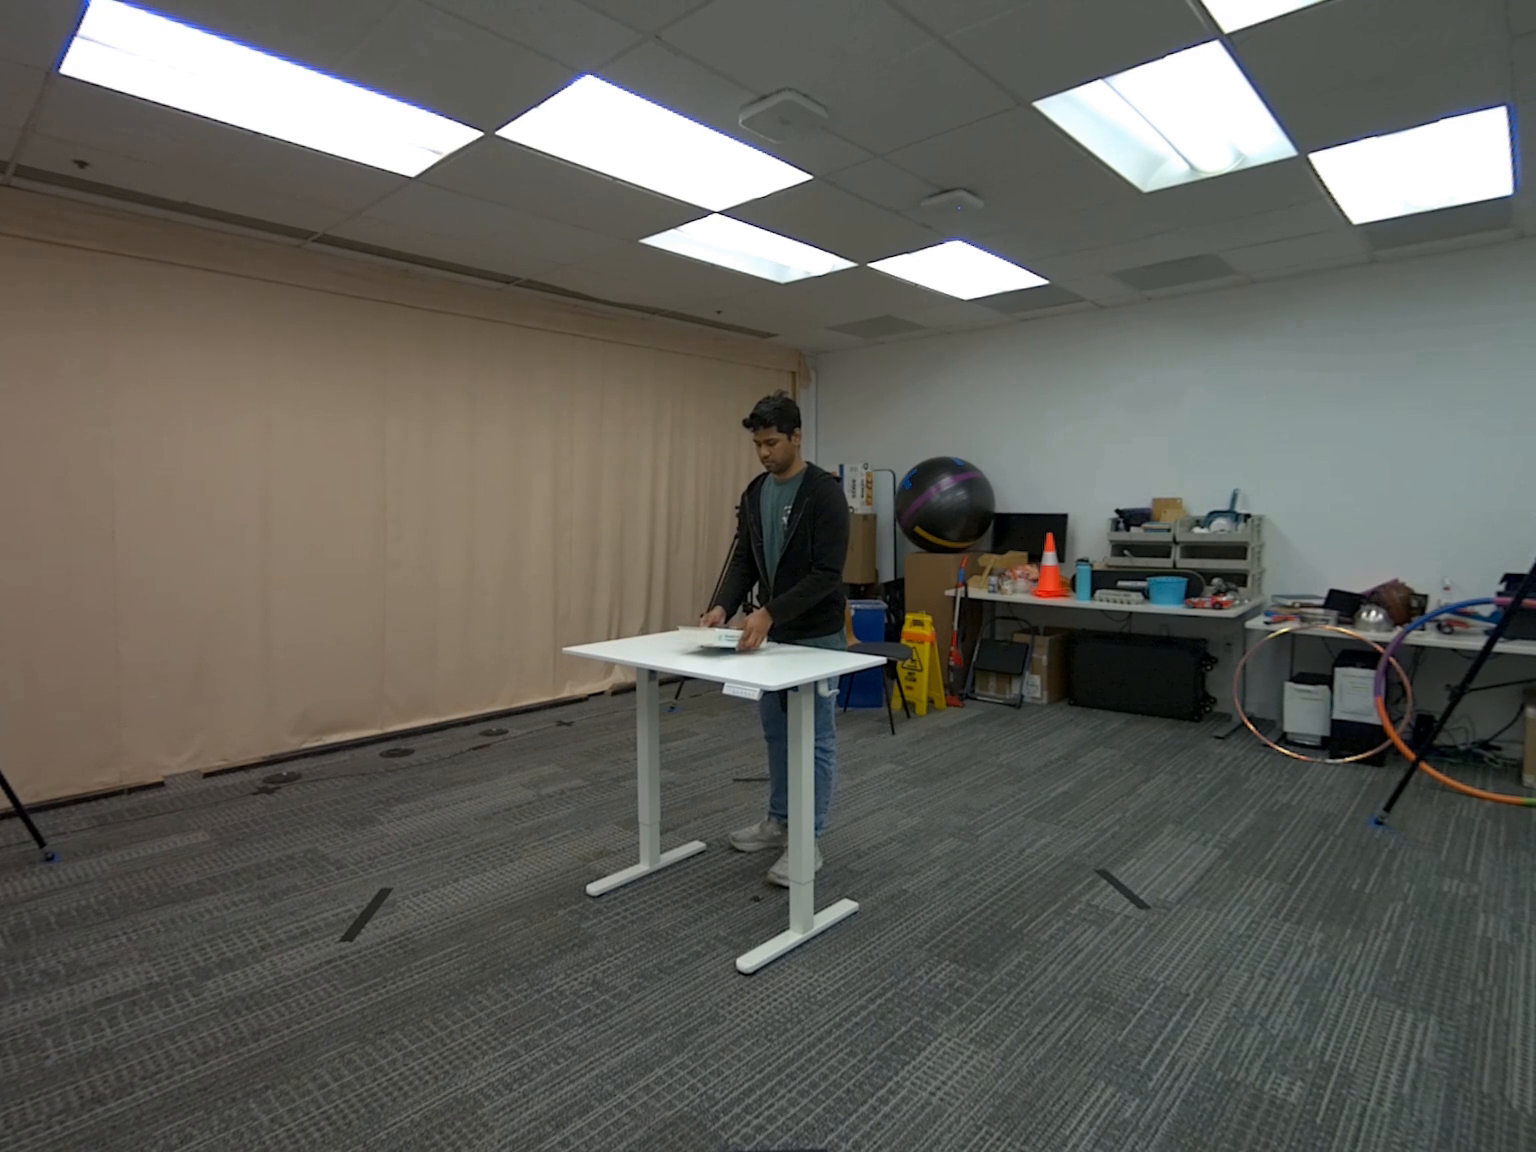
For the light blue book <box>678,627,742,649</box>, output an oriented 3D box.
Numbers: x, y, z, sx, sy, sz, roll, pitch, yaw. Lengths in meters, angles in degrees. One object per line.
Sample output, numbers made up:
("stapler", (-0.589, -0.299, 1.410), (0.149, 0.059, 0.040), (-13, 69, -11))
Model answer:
("light blue book", (-0.163, 0.216, 2.958), (0.197, 0.059, 0.252), (-1, -5, 42))
